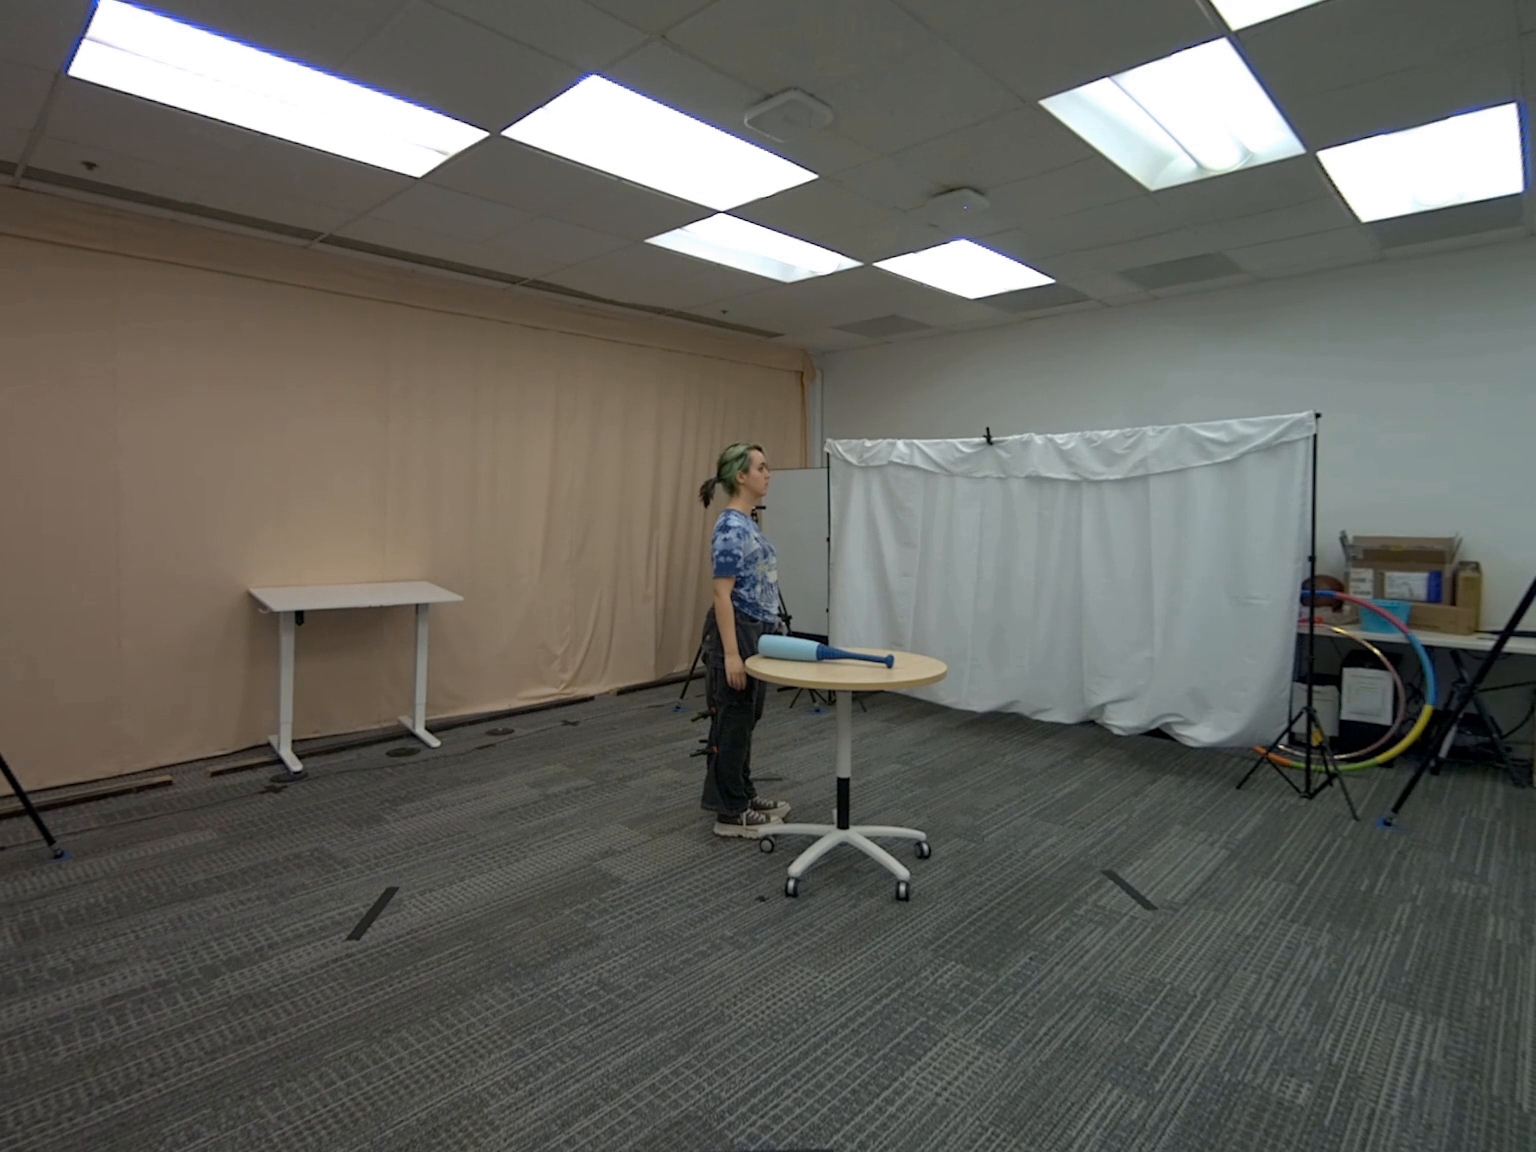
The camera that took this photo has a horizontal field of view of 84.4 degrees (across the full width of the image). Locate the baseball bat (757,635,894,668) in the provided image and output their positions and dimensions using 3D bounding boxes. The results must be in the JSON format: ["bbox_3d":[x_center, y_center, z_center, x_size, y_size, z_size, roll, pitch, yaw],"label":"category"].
[{"bbox_3d":[0.224,0.301,3.253,0.557,0.089,0.087,5,6,25],"label":"baseball bat"}]
